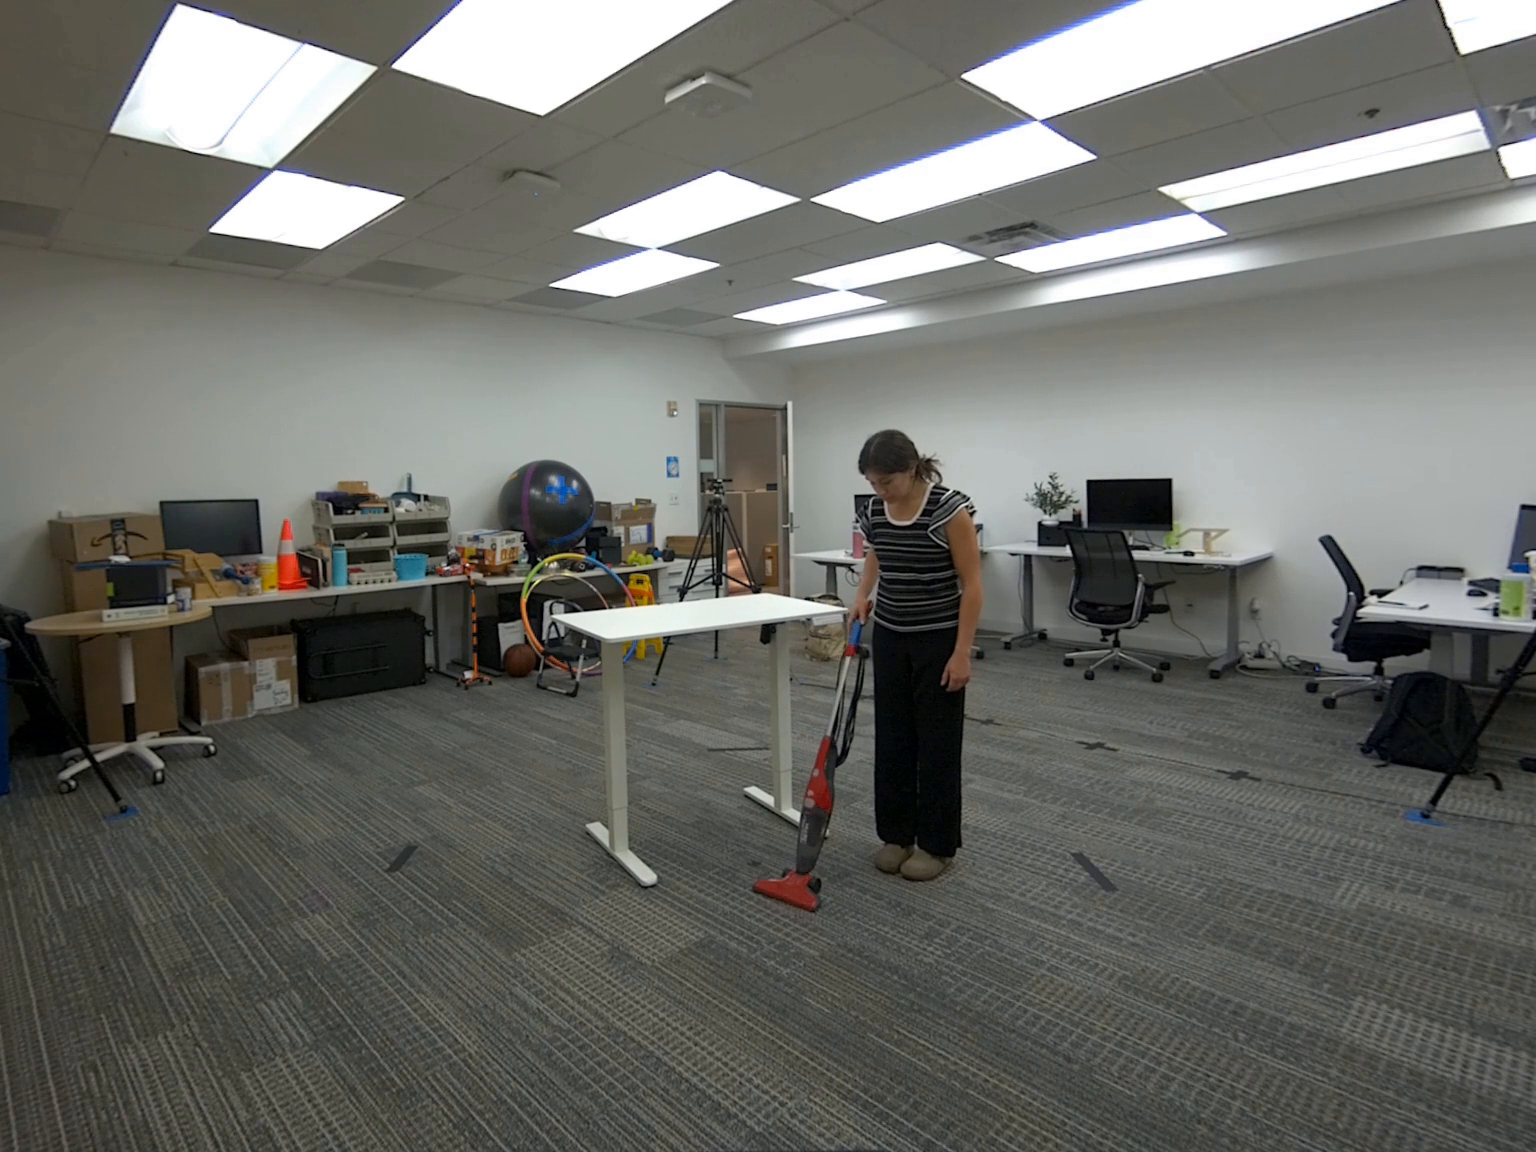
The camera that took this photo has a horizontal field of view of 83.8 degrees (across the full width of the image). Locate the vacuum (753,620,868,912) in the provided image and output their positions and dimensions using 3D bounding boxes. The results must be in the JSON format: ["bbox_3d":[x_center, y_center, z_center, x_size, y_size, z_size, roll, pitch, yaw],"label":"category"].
[{"bbox_3d":[0.229,0.602,3.022,0.260,1.060,0.138,2,-23,37],"label":"vacuum"}]
